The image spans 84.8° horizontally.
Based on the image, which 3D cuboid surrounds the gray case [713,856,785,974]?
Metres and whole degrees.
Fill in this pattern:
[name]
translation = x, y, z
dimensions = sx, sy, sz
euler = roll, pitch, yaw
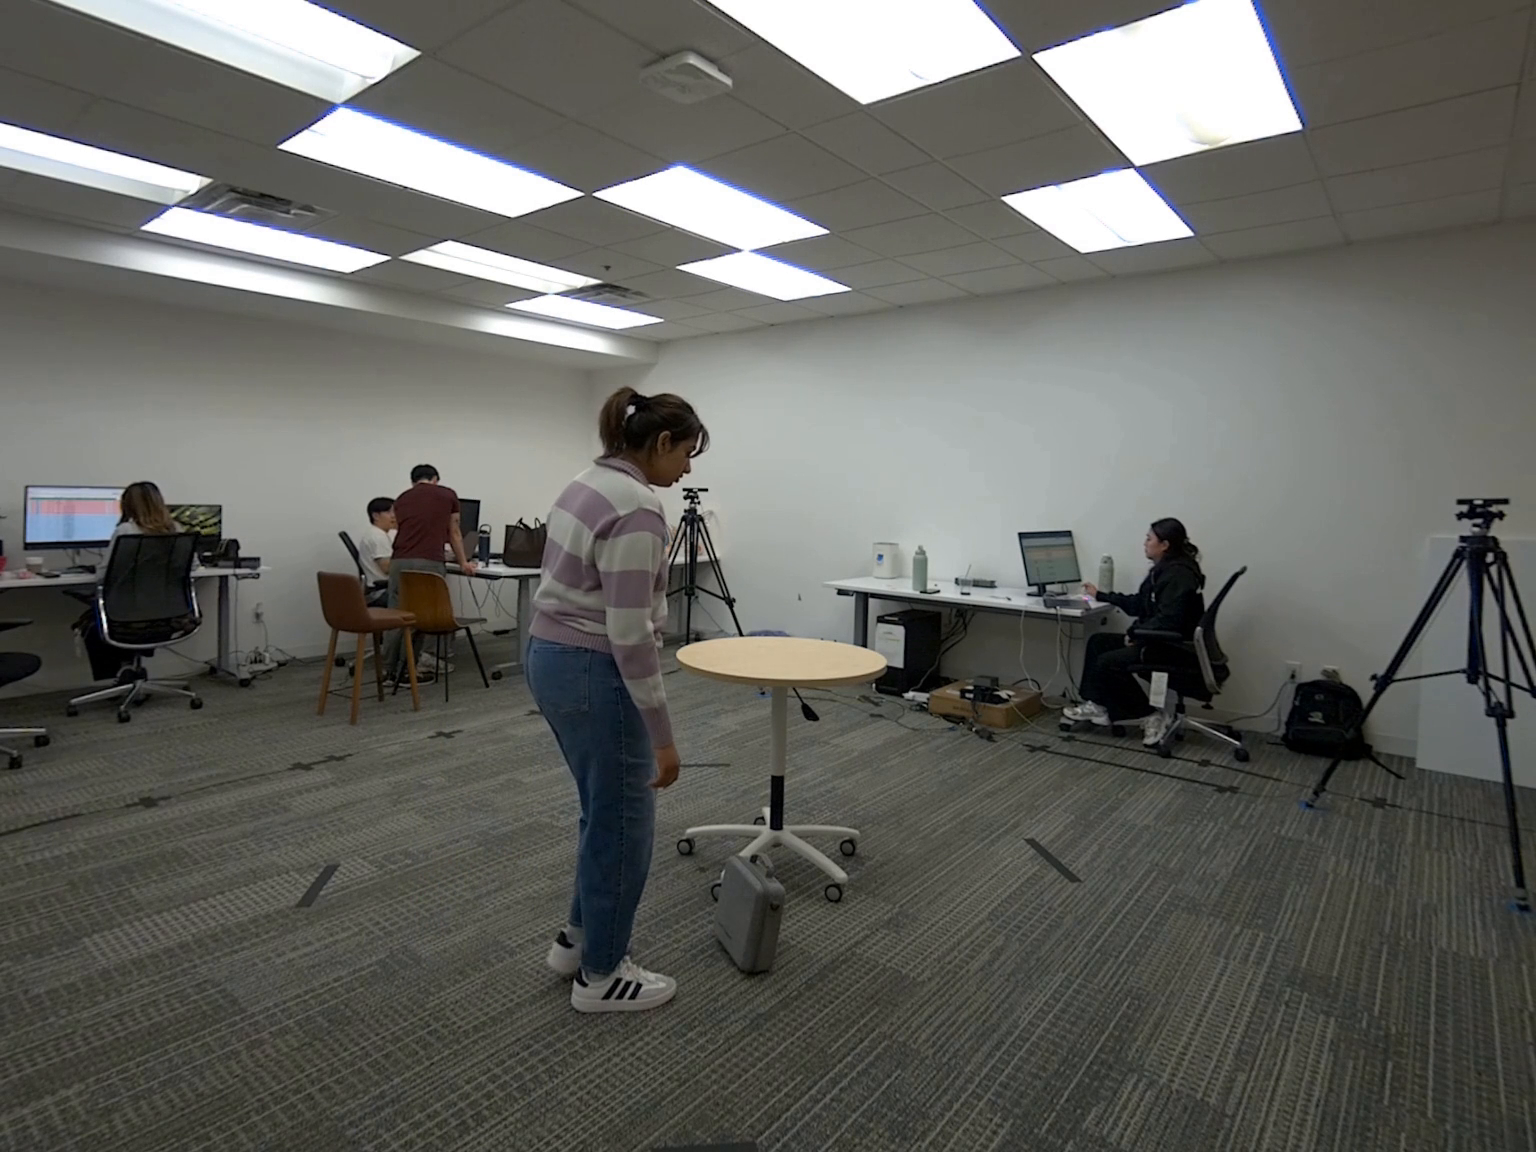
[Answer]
[gray case]
translation = -0.066, 0.991, 2.546
dimensions = 0.101, 0.261, 0.263
euler = 10, 0, -25
